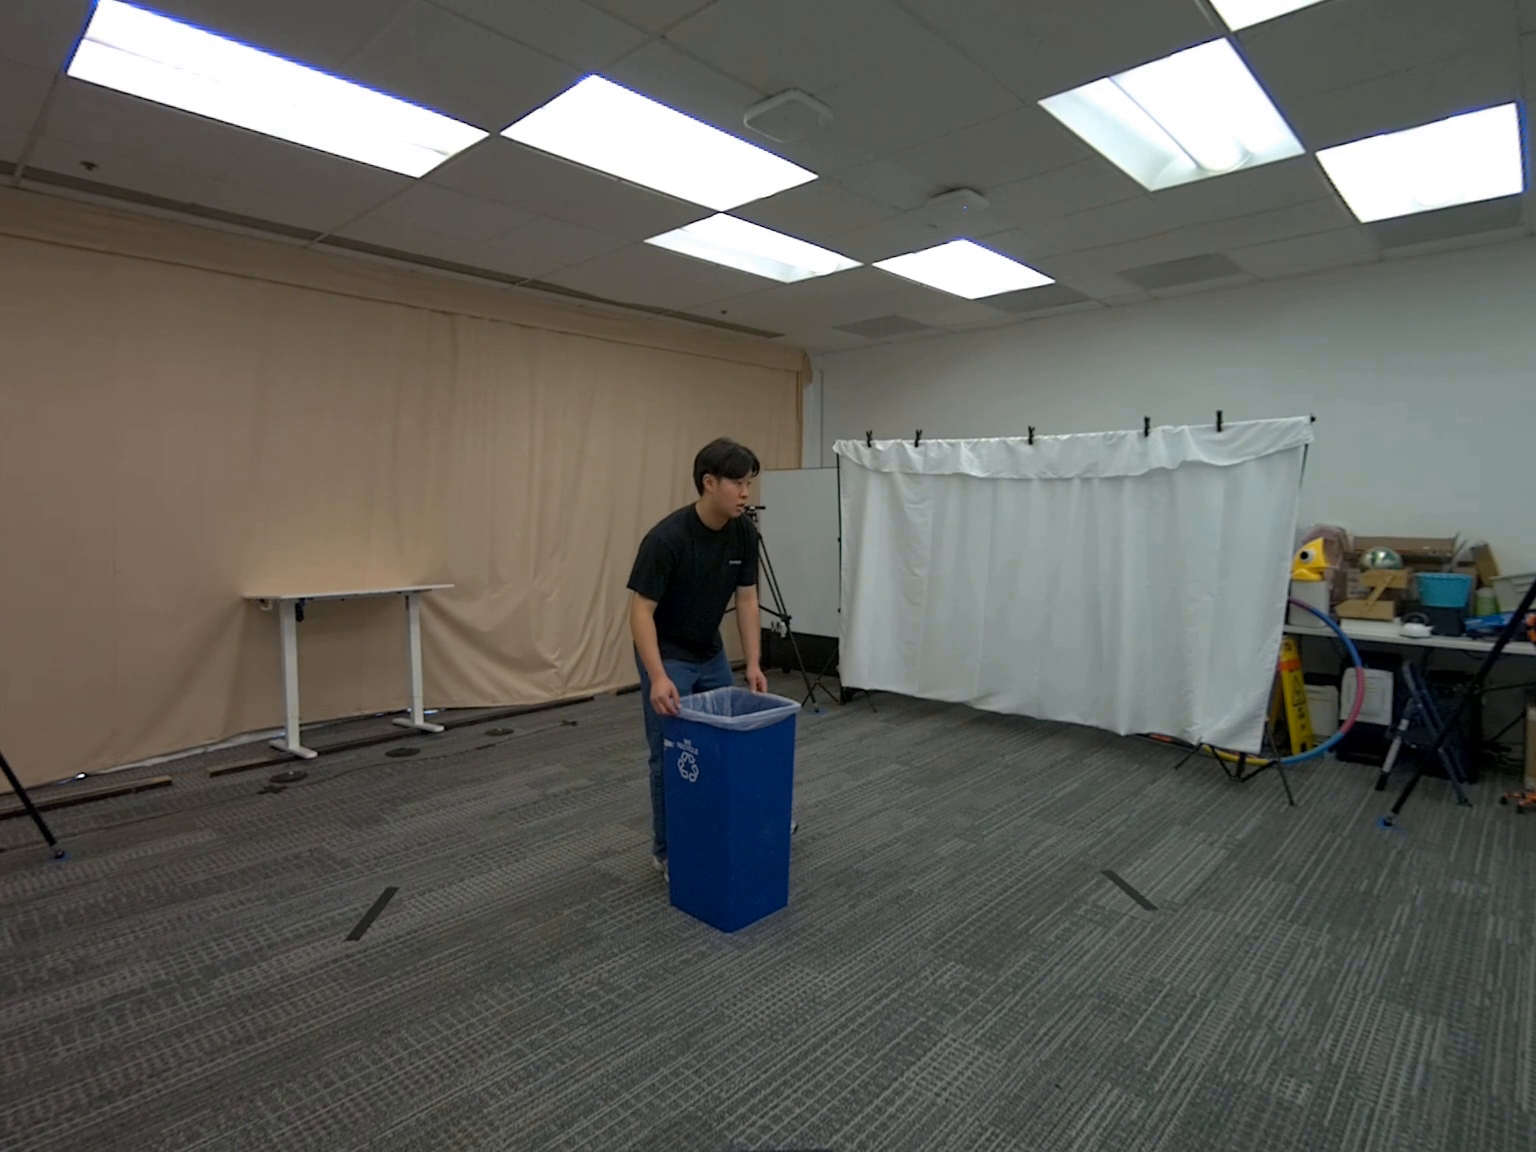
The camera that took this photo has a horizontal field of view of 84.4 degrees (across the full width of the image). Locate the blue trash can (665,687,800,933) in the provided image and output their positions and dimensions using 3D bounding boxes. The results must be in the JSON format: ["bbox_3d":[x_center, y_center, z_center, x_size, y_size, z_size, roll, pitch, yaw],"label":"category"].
[{"bbox_3d":[-0.121,0.792,2.914,0.386,0.712,0.366,3,4,44],"label":"blue trash can"}]
